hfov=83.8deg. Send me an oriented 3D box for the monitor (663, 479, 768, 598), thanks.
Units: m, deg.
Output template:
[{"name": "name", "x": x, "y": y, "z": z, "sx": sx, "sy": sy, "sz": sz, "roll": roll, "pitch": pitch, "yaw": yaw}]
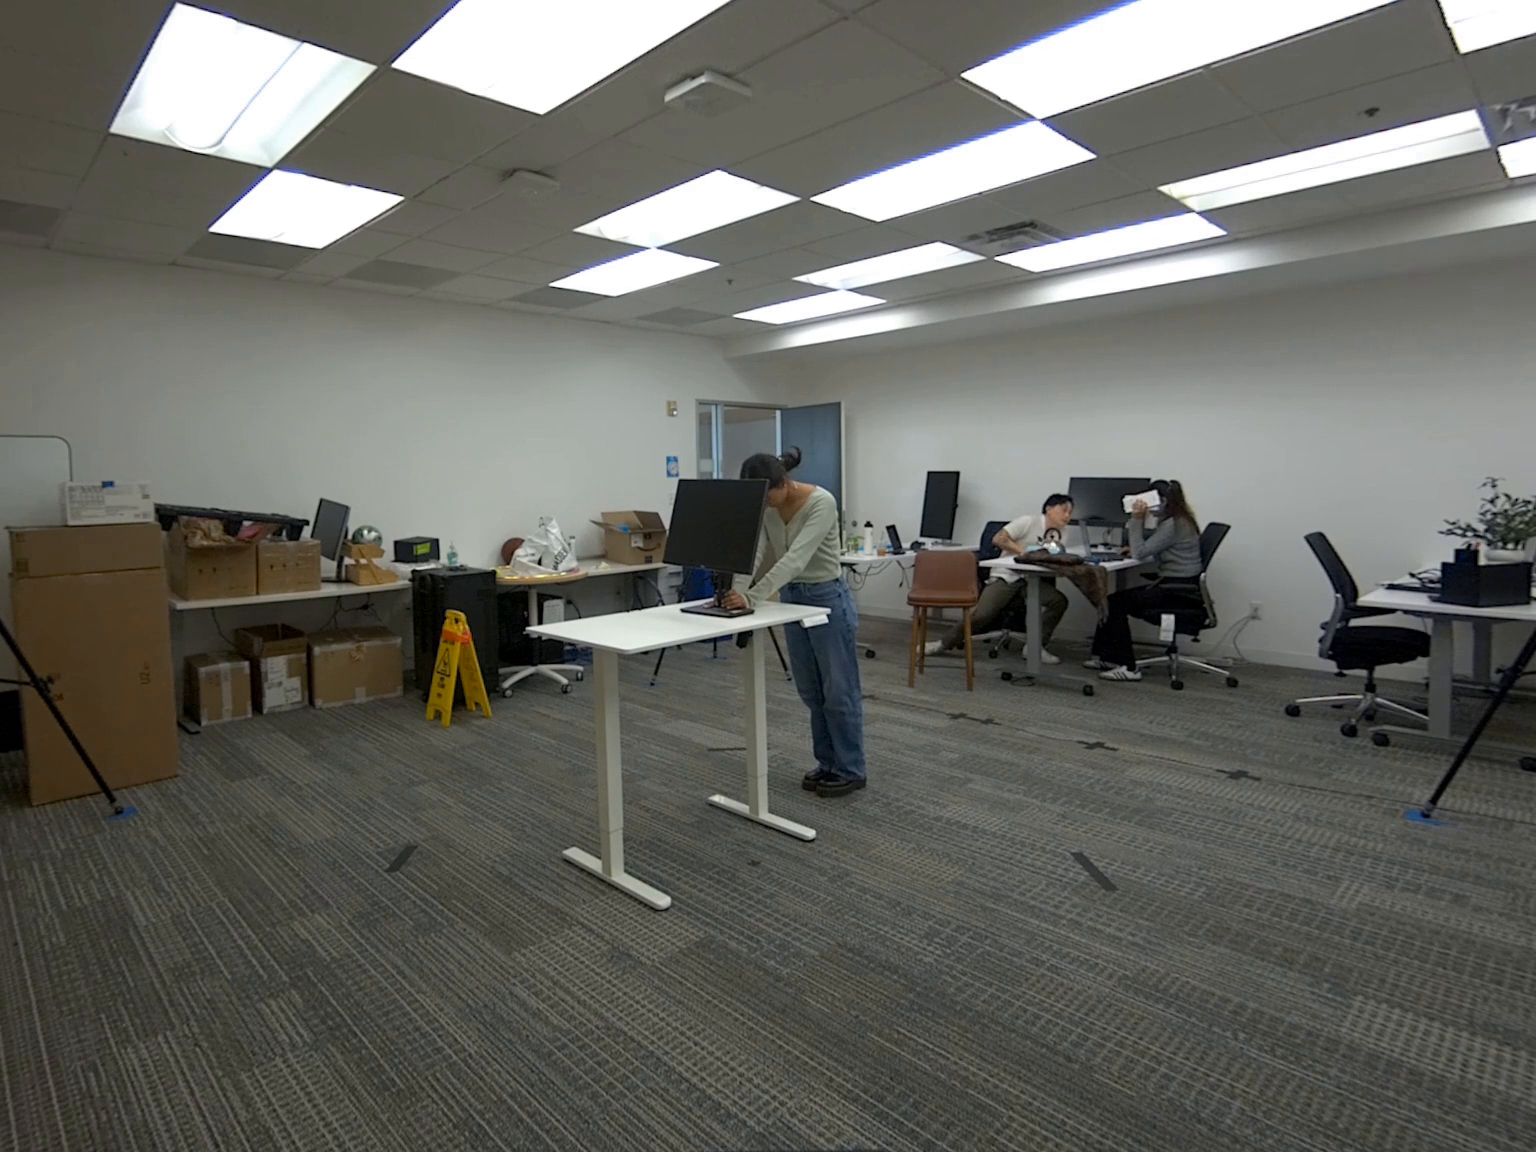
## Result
[{"name": "monitor", "x": -0.195, "y": -0.114, "z": 3.292, "sx": 0.182, "sy": 0.520, "sz": 0.556, "roll": -5, "pitch": 7, "yaw": -40}]
